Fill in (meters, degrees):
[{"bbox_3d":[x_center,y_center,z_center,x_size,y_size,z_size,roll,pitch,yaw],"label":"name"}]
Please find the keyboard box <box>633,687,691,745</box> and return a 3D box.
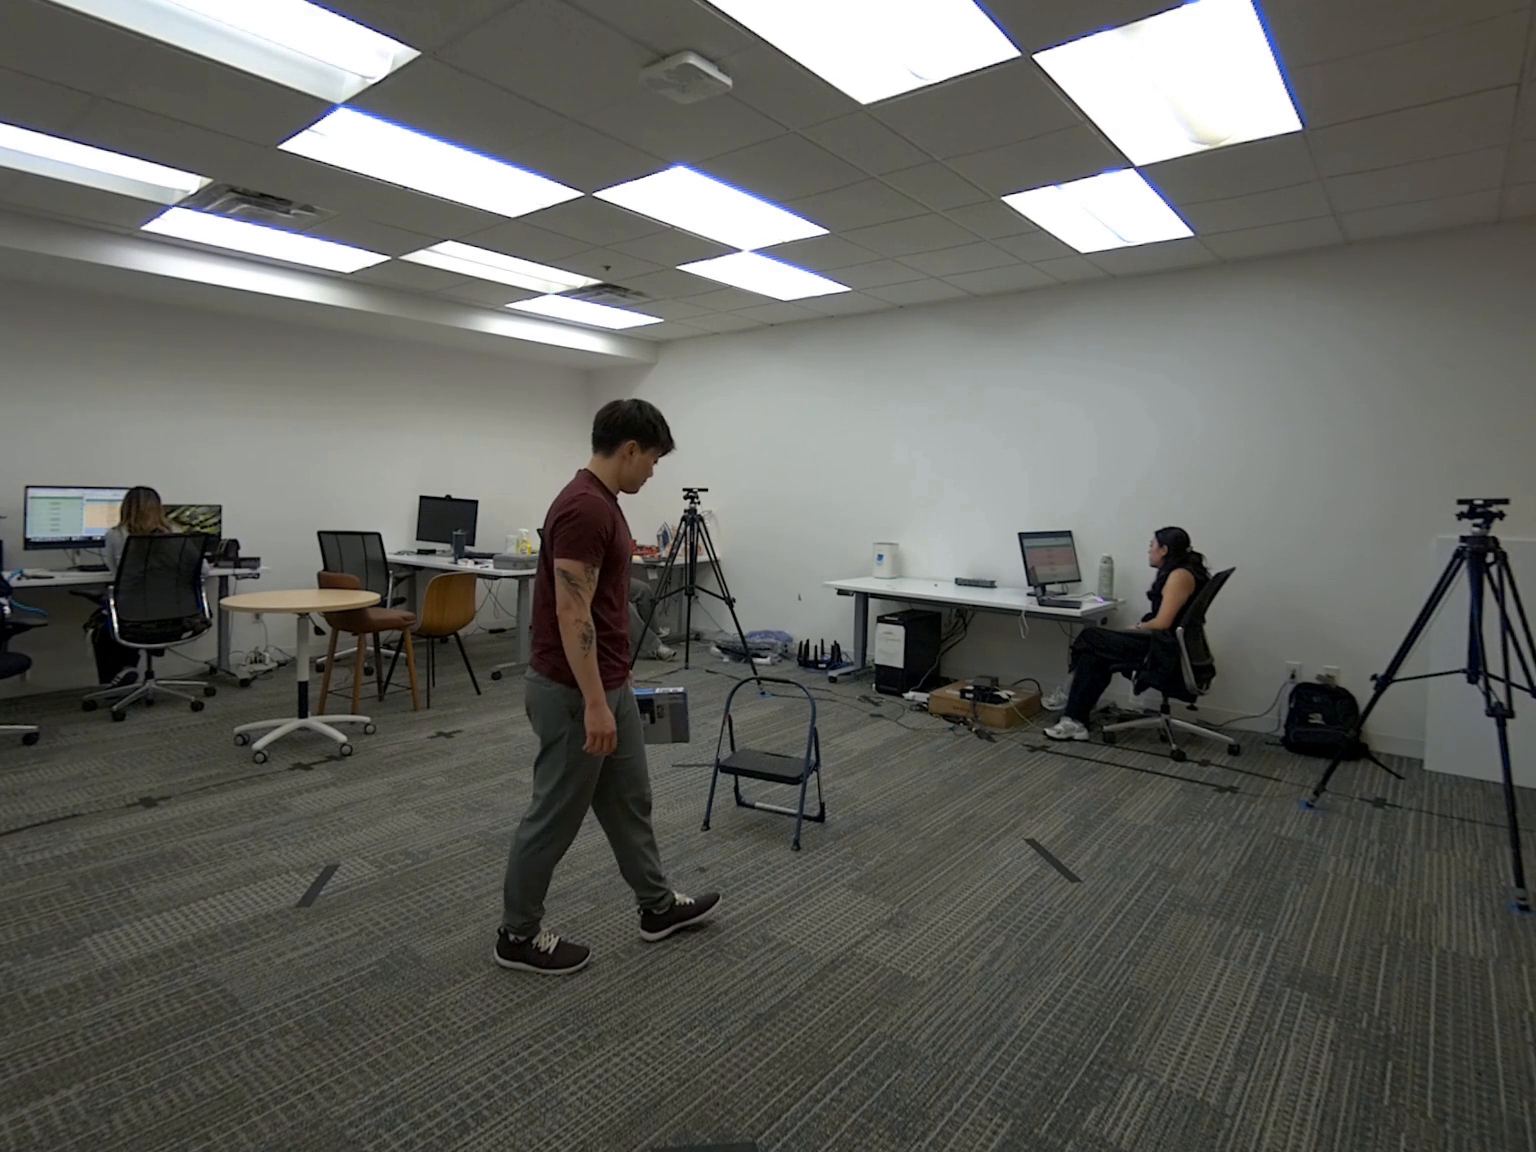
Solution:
[{"bbox_3d":[-0.490,0.456,2.764,0.438,0.175,0.059,-3,7,2],"label":"keyboard box"}]
